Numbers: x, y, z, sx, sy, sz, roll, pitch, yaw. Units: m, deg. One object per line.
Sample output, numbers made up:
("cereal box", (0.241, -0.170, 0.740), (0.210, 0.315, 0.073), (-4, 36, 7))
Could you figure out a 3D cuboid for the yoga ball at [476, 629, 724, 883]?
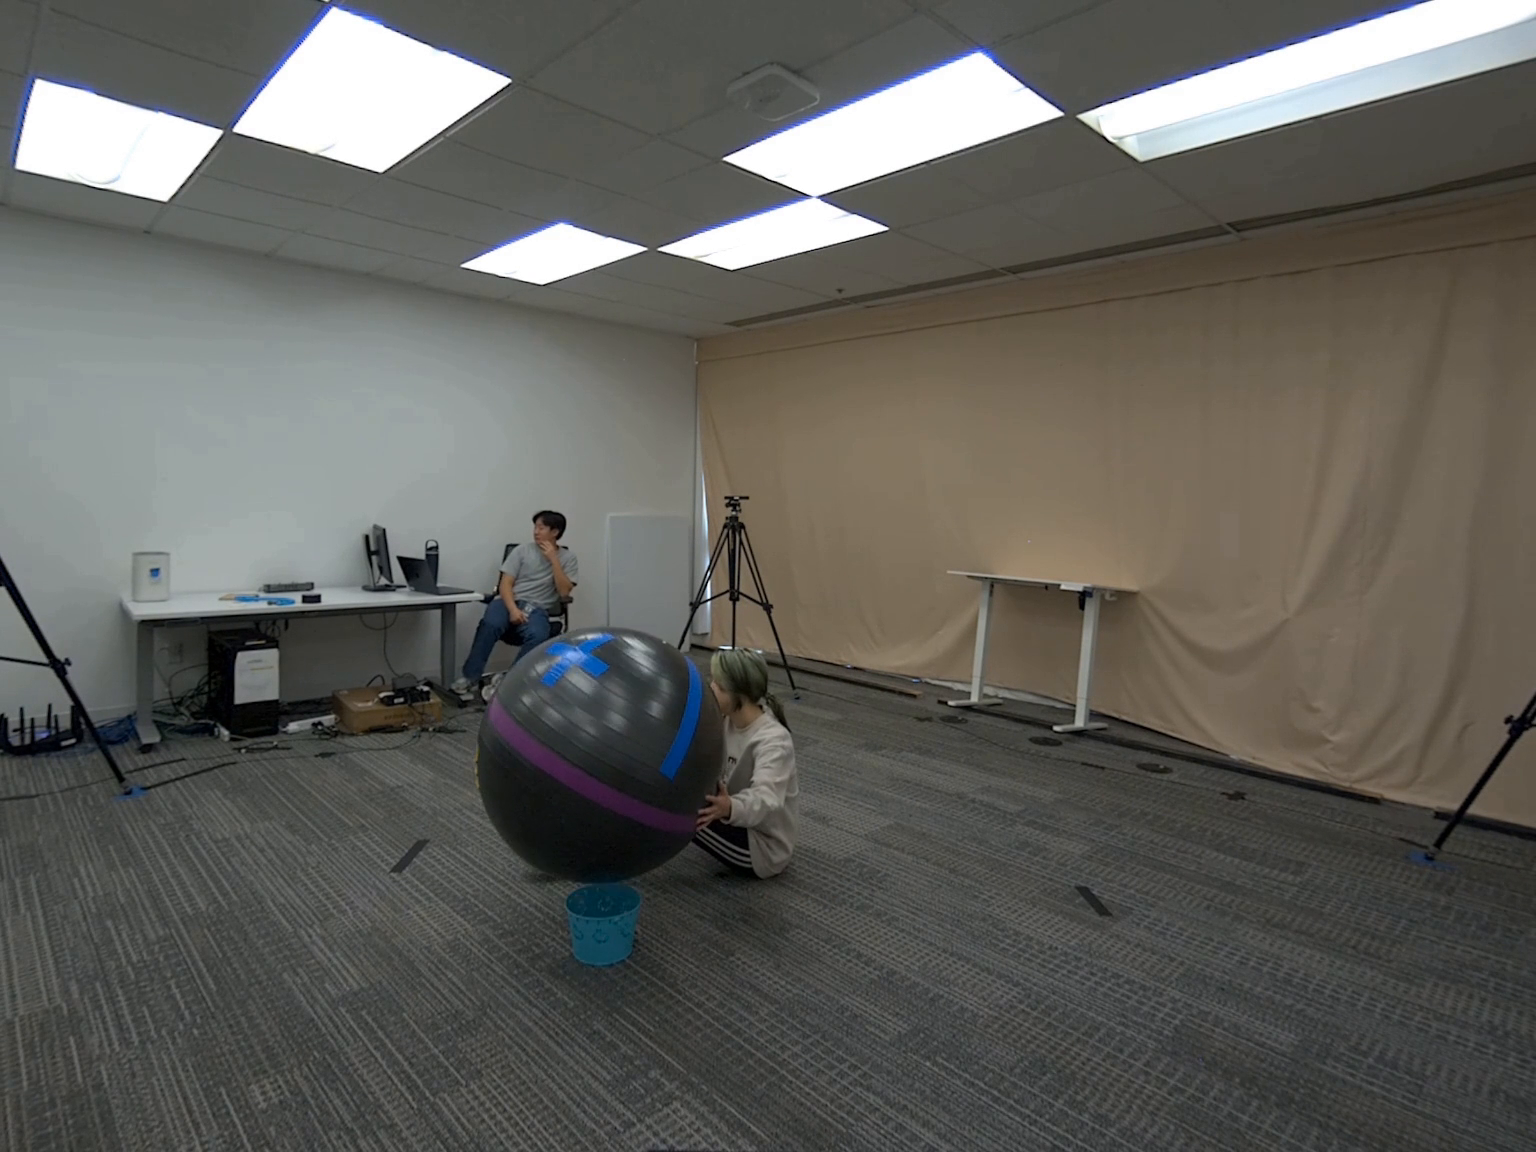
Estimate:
("yoga ball", (-0.508, 0.545, 2.590), (0.757, 0.756, 0.761), (1, 4, -1))
